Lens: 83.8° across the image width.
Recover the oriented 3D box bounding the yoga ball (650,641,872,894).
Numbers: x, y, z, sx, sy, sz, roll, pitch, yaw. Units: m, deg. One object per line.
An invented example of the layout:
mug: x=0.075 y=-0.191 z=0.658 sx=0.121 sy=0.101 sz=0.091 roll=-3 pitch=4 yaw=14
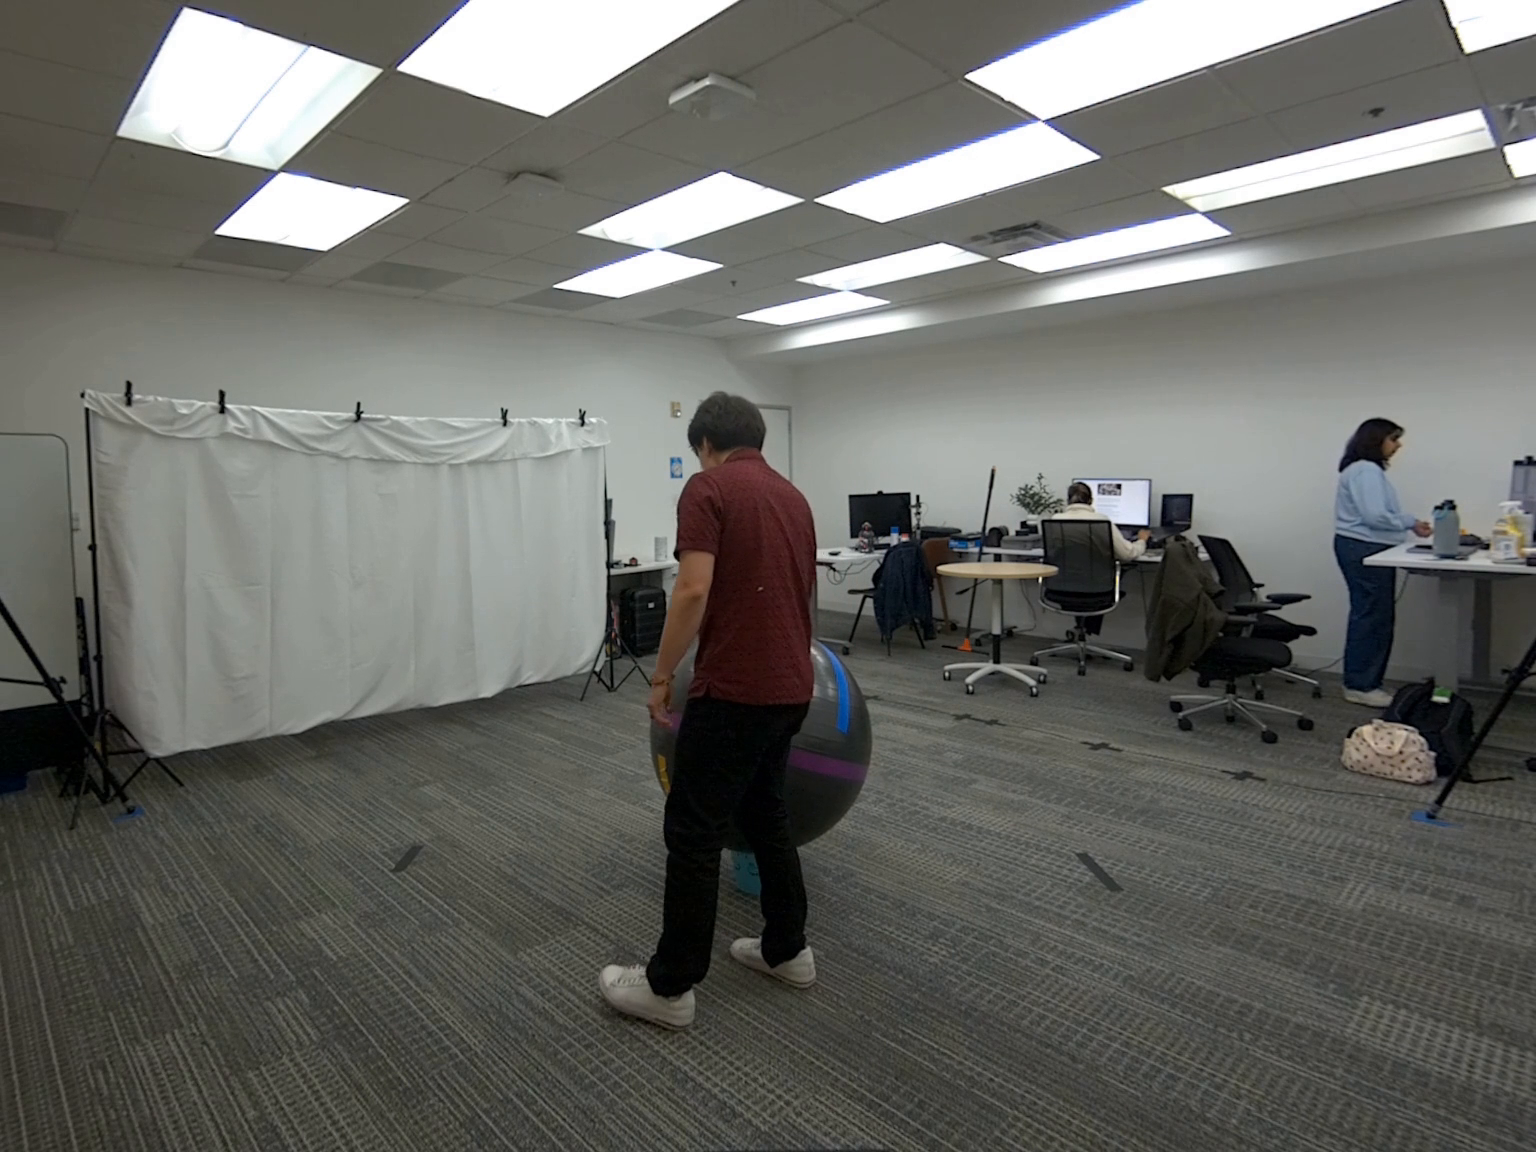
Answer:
yoga ball: x=-0.024 y=0.553 z=2.948 sx=0.757 sy=0.755 sz=0.762 roll=-1 pitch=5 yaw=-2
